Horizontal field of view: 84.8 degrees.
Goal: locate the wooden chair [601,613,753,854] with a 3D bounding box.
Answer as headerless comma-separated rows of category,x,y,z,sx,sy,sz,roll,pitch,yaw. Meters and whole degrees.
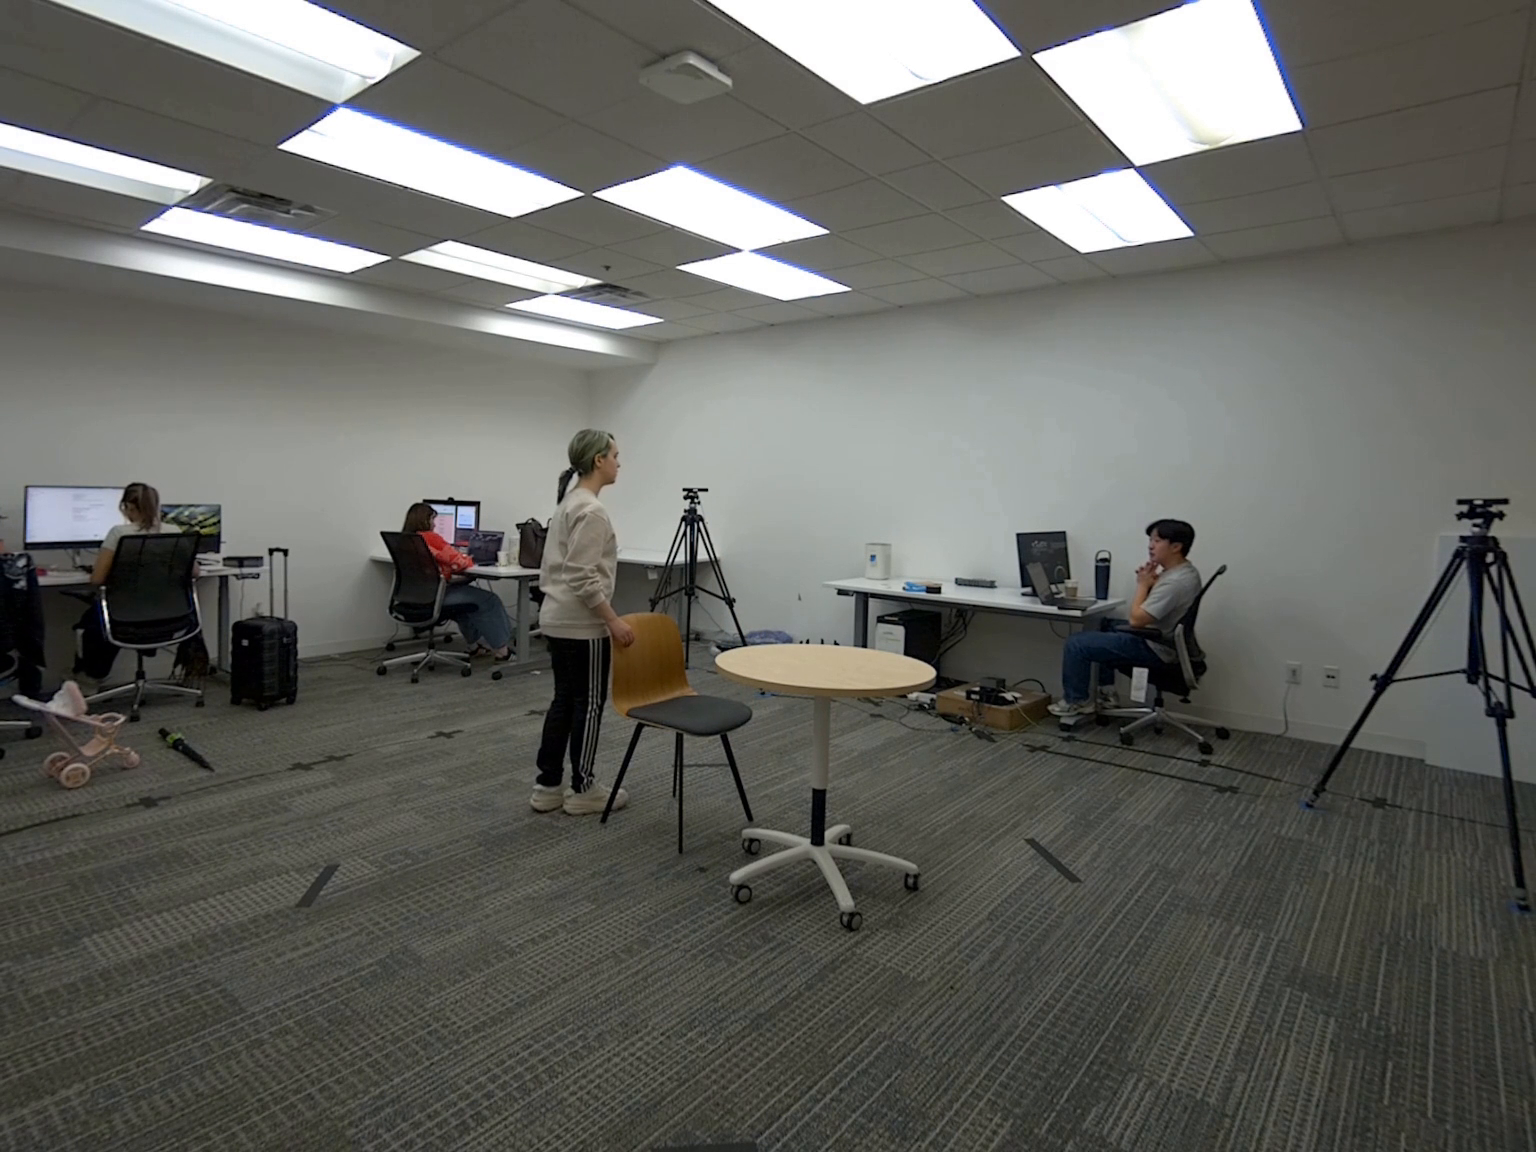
wooden chair,-0.370,0.598,3.514,0.539,0.878,0.464,-2,0,39
